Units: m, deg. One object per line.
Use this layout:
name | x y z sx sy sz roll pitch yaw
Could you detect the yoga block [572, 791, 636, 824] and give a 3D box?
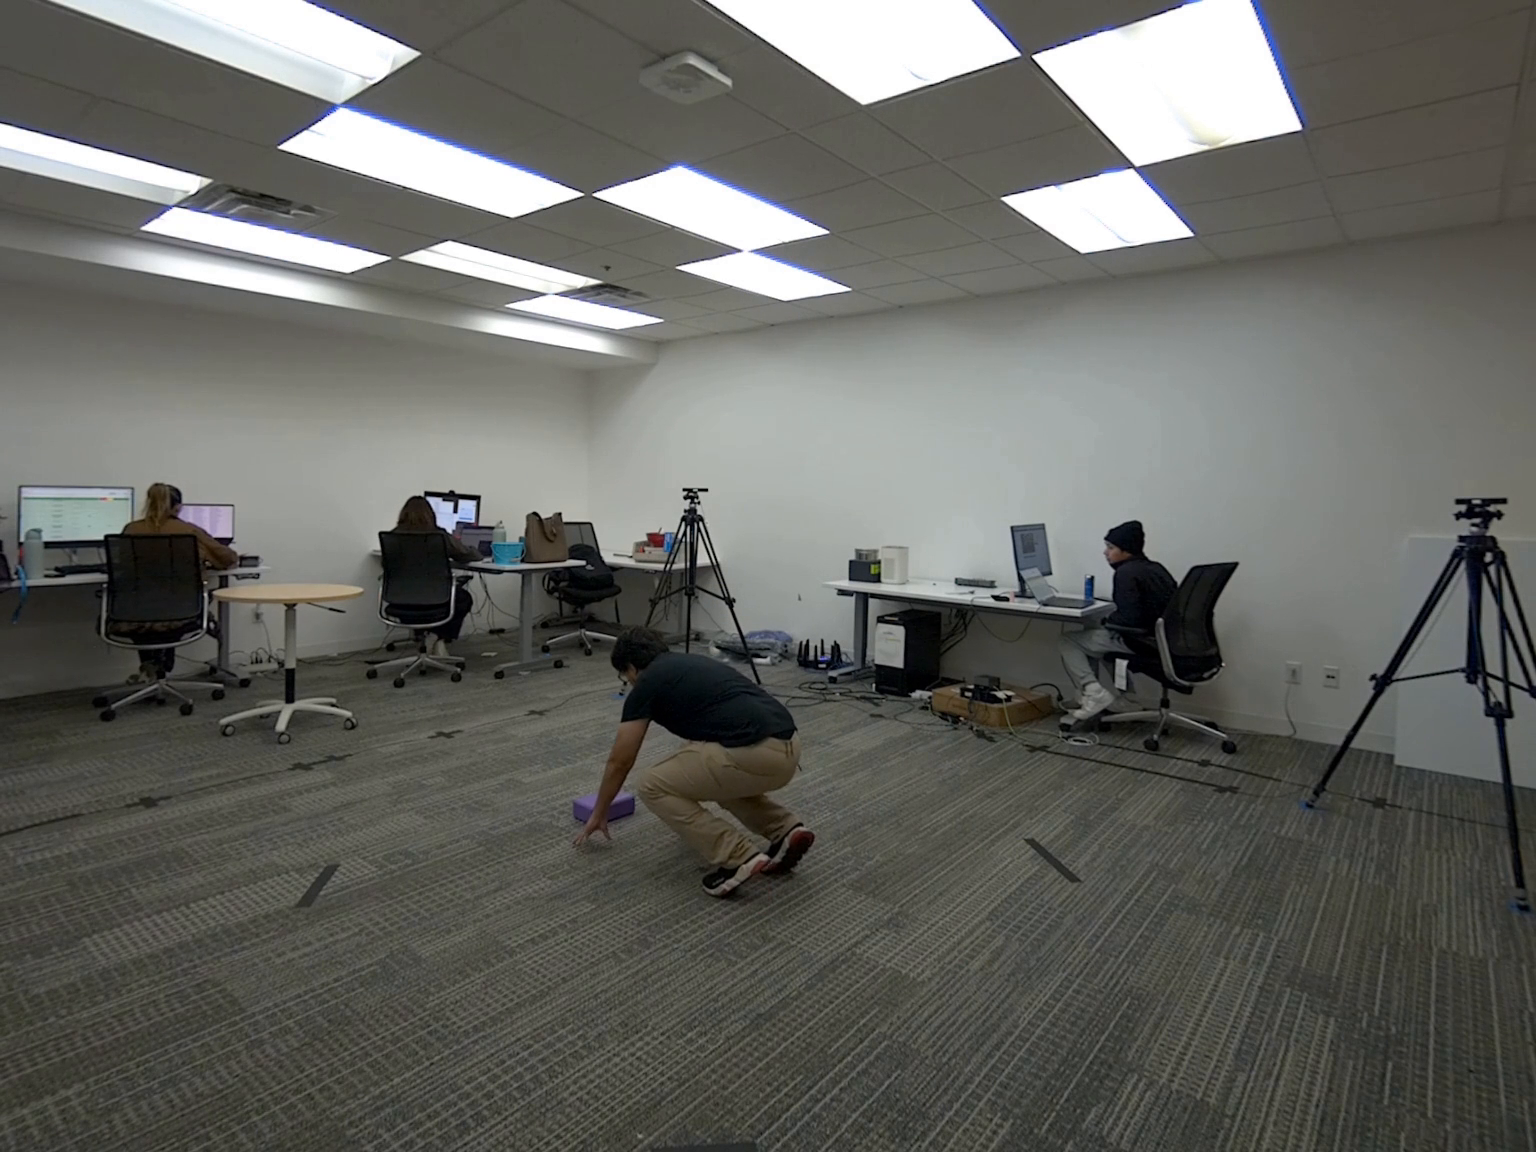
yoga block | -0.705 0.974 3.608 0.154 0.076 0.222 3 6 43
